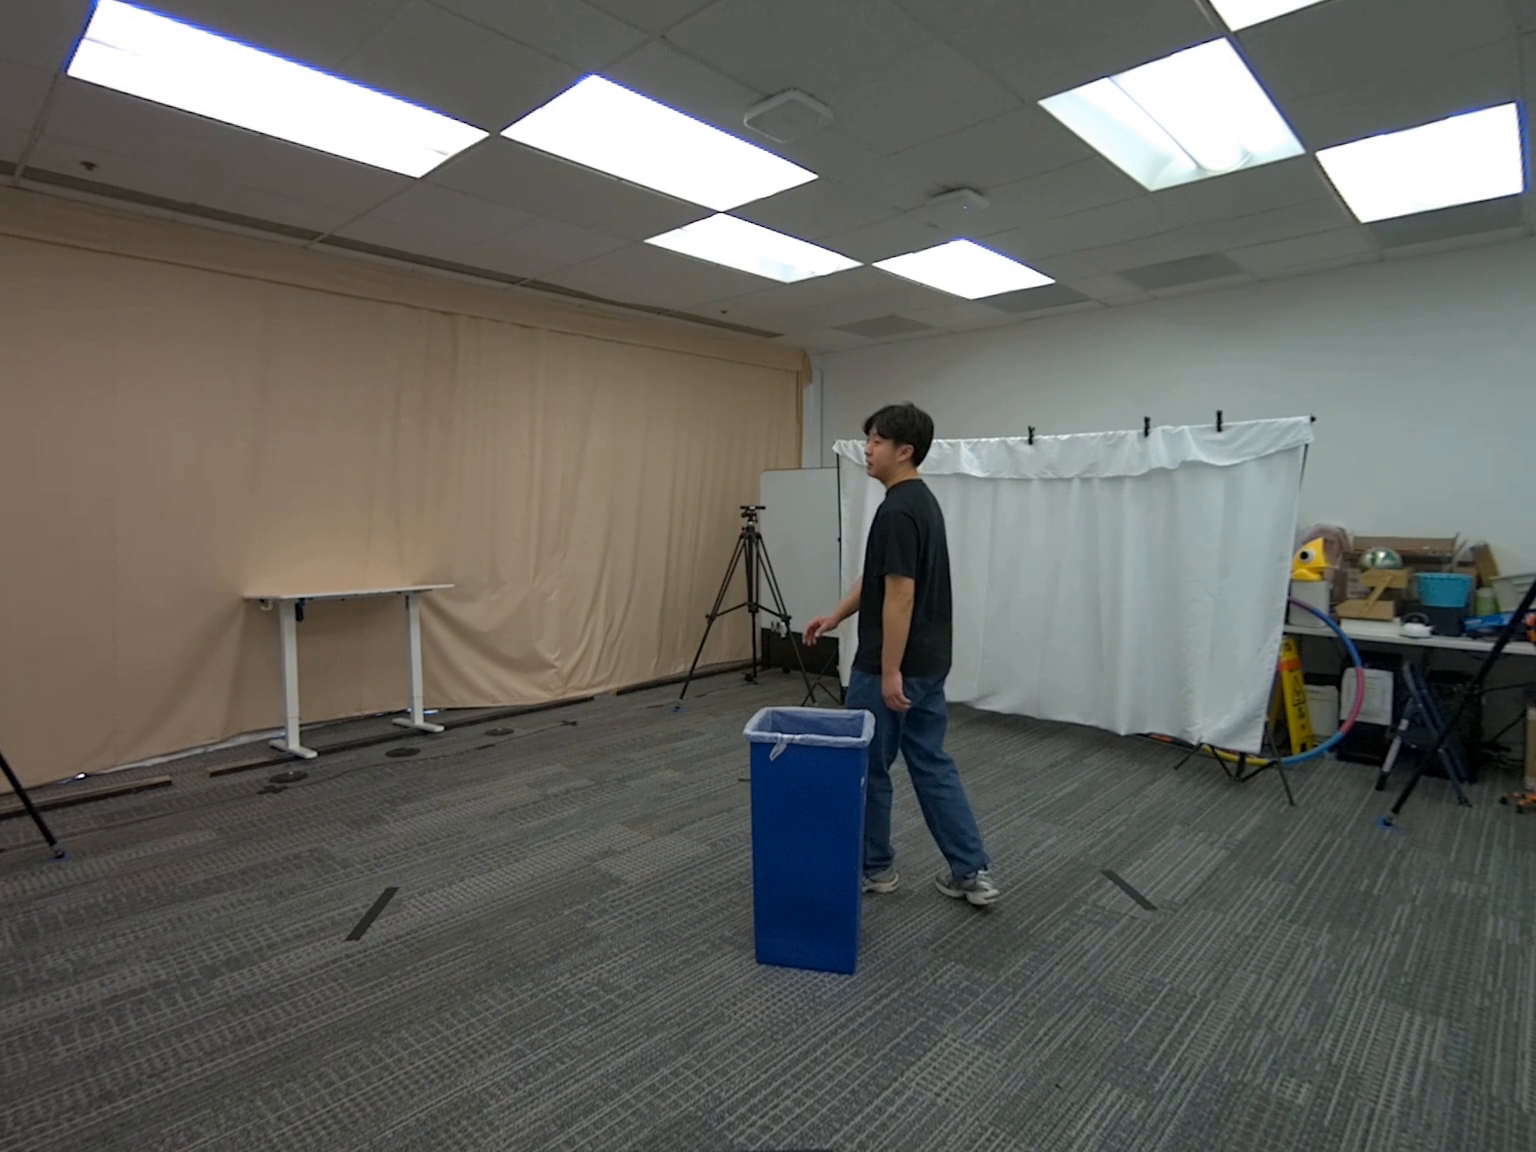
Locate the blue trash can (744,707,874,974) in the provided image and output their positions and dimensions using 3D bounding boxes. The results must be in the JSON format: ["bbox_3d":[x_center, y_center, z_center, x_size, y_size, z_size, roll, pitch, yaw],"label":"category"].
[{"bbox_3d":[0.141,0.813,2.649,0.383,0.713,0.369,0,1,12],"label":"blue trash can"}]
